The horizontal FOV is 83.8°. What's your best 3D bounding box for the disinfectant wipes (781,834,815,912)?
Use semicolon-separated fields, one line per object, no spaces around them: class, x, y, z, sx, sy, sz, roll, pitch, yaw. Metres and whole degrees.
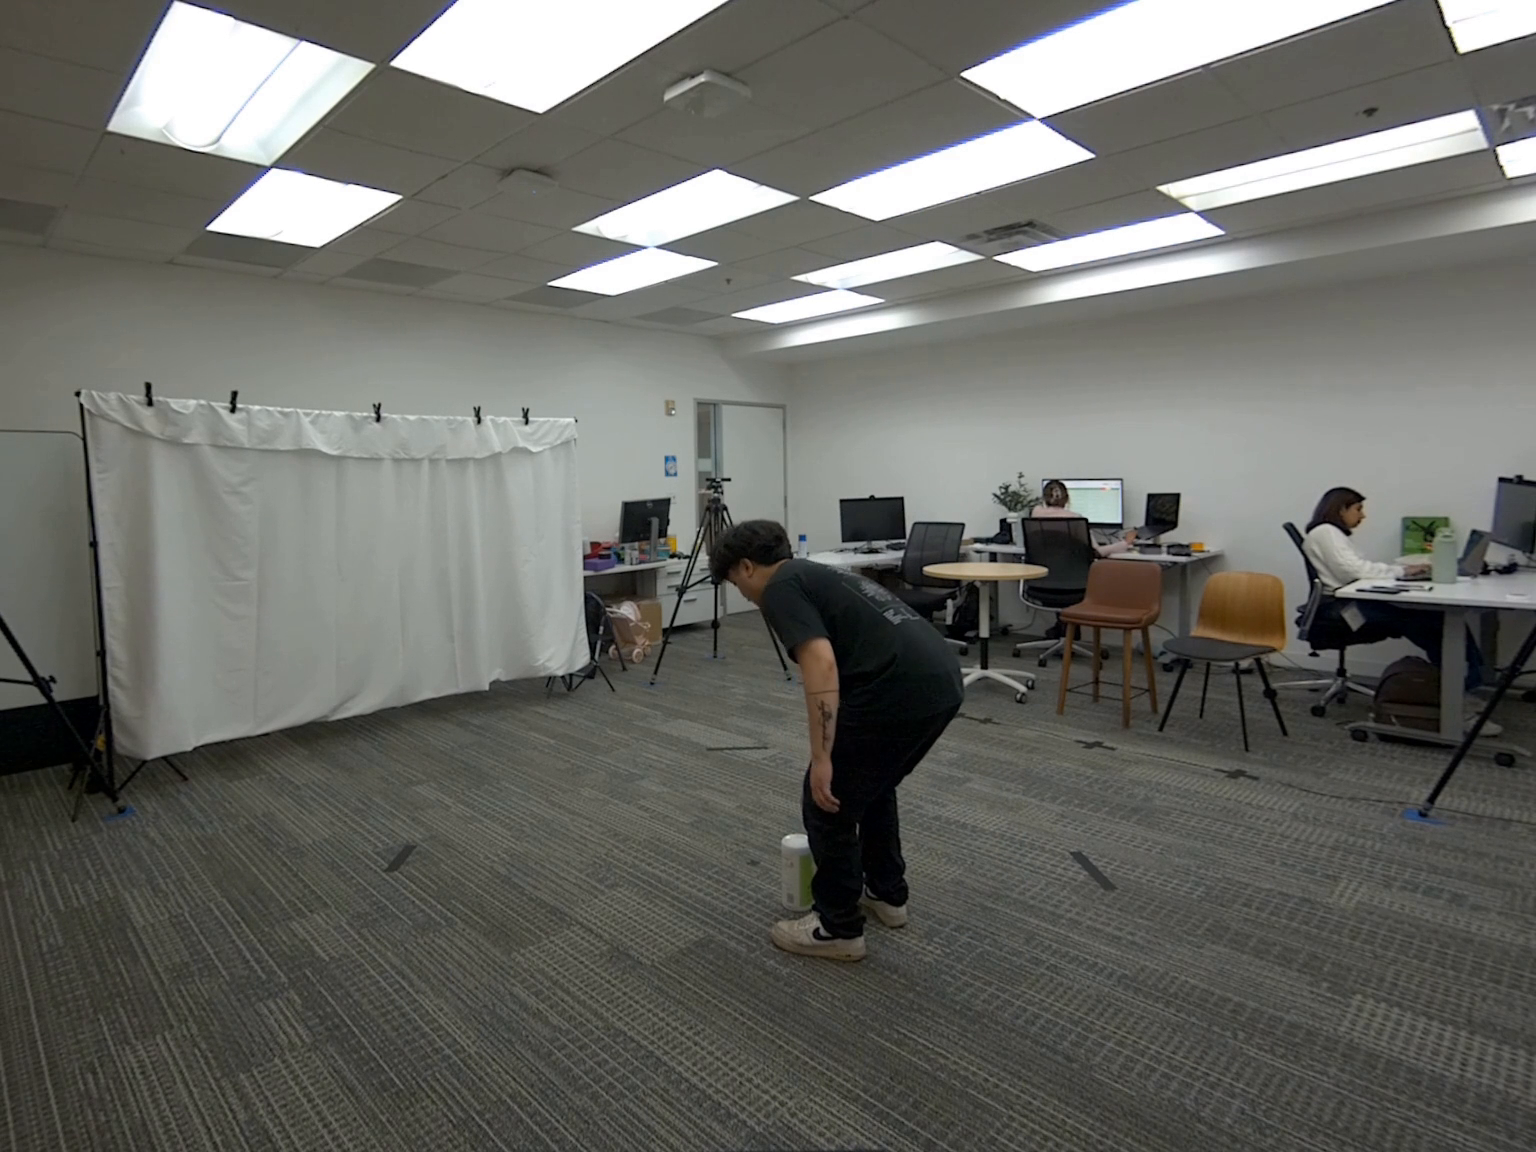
disinfectant wipes;0.103;0.972;2.784;0.118;0.216;0.118;-2;5;-1
